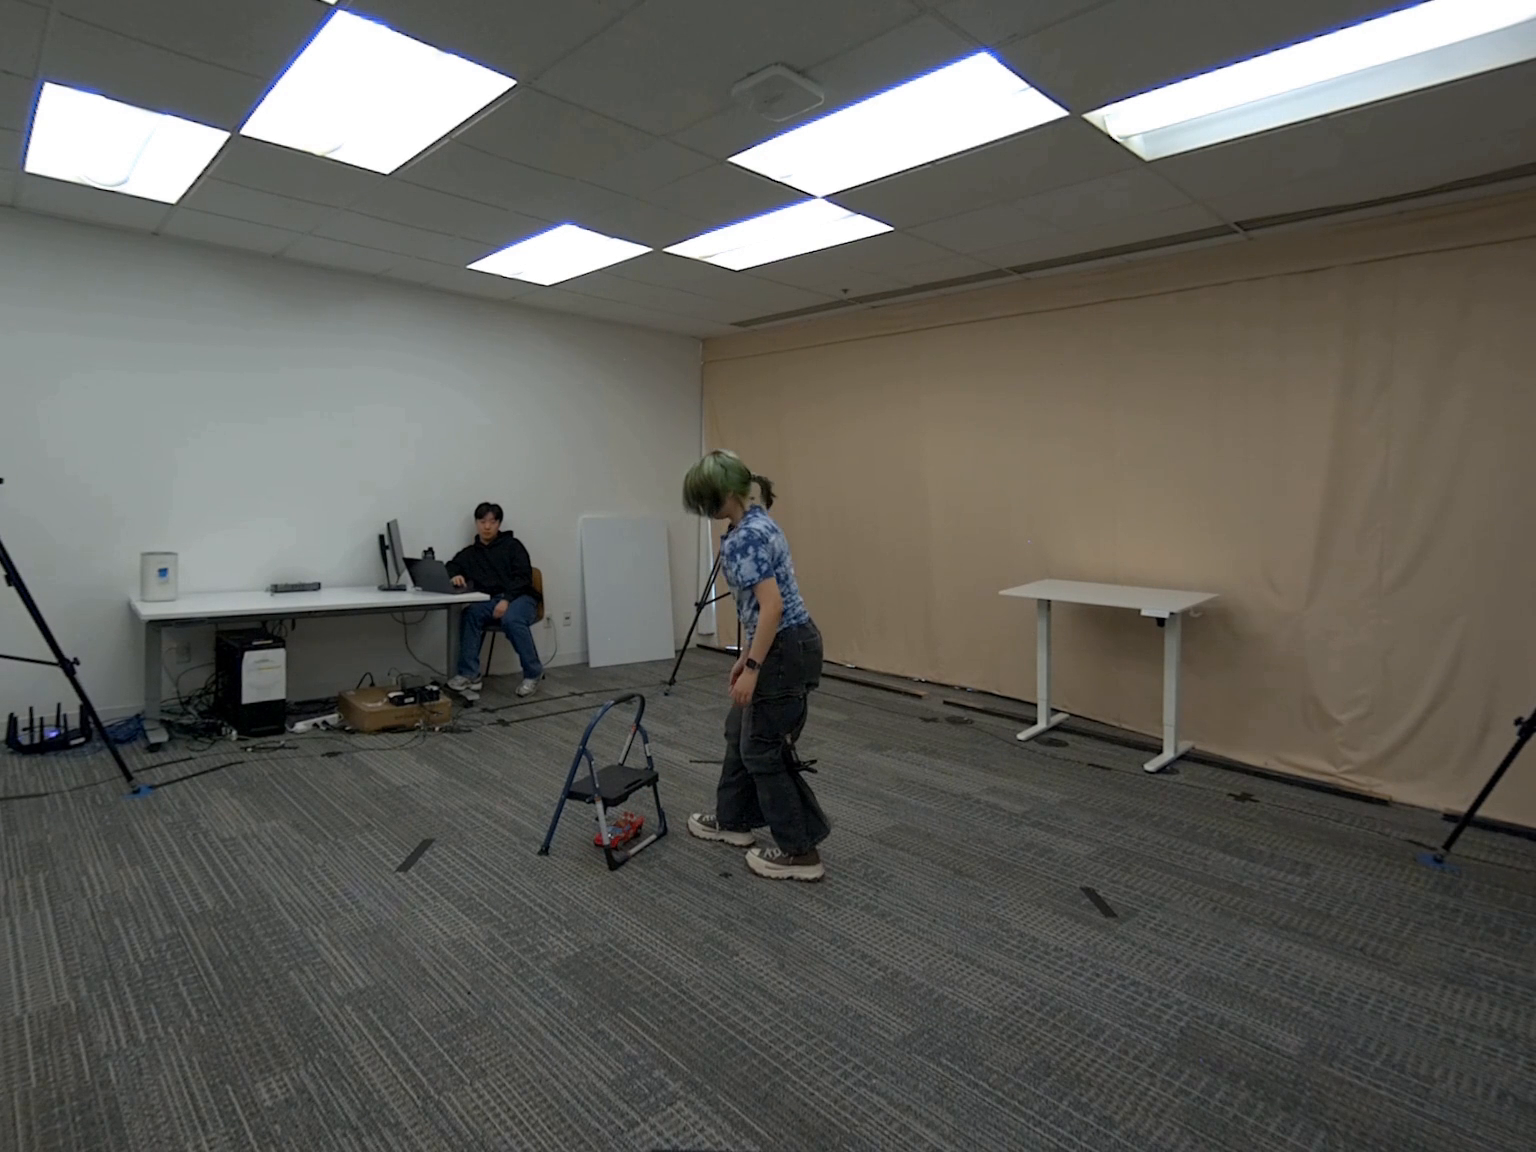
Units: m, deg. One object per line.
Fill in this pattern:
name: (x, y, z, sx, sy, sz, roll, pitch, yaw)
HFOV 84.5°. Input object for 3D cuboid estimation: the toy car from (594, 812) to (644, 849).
toy car: (-0.604, 1.036, 3.401, 0.132, 0.082, 0.253, 0, 15, 23)
